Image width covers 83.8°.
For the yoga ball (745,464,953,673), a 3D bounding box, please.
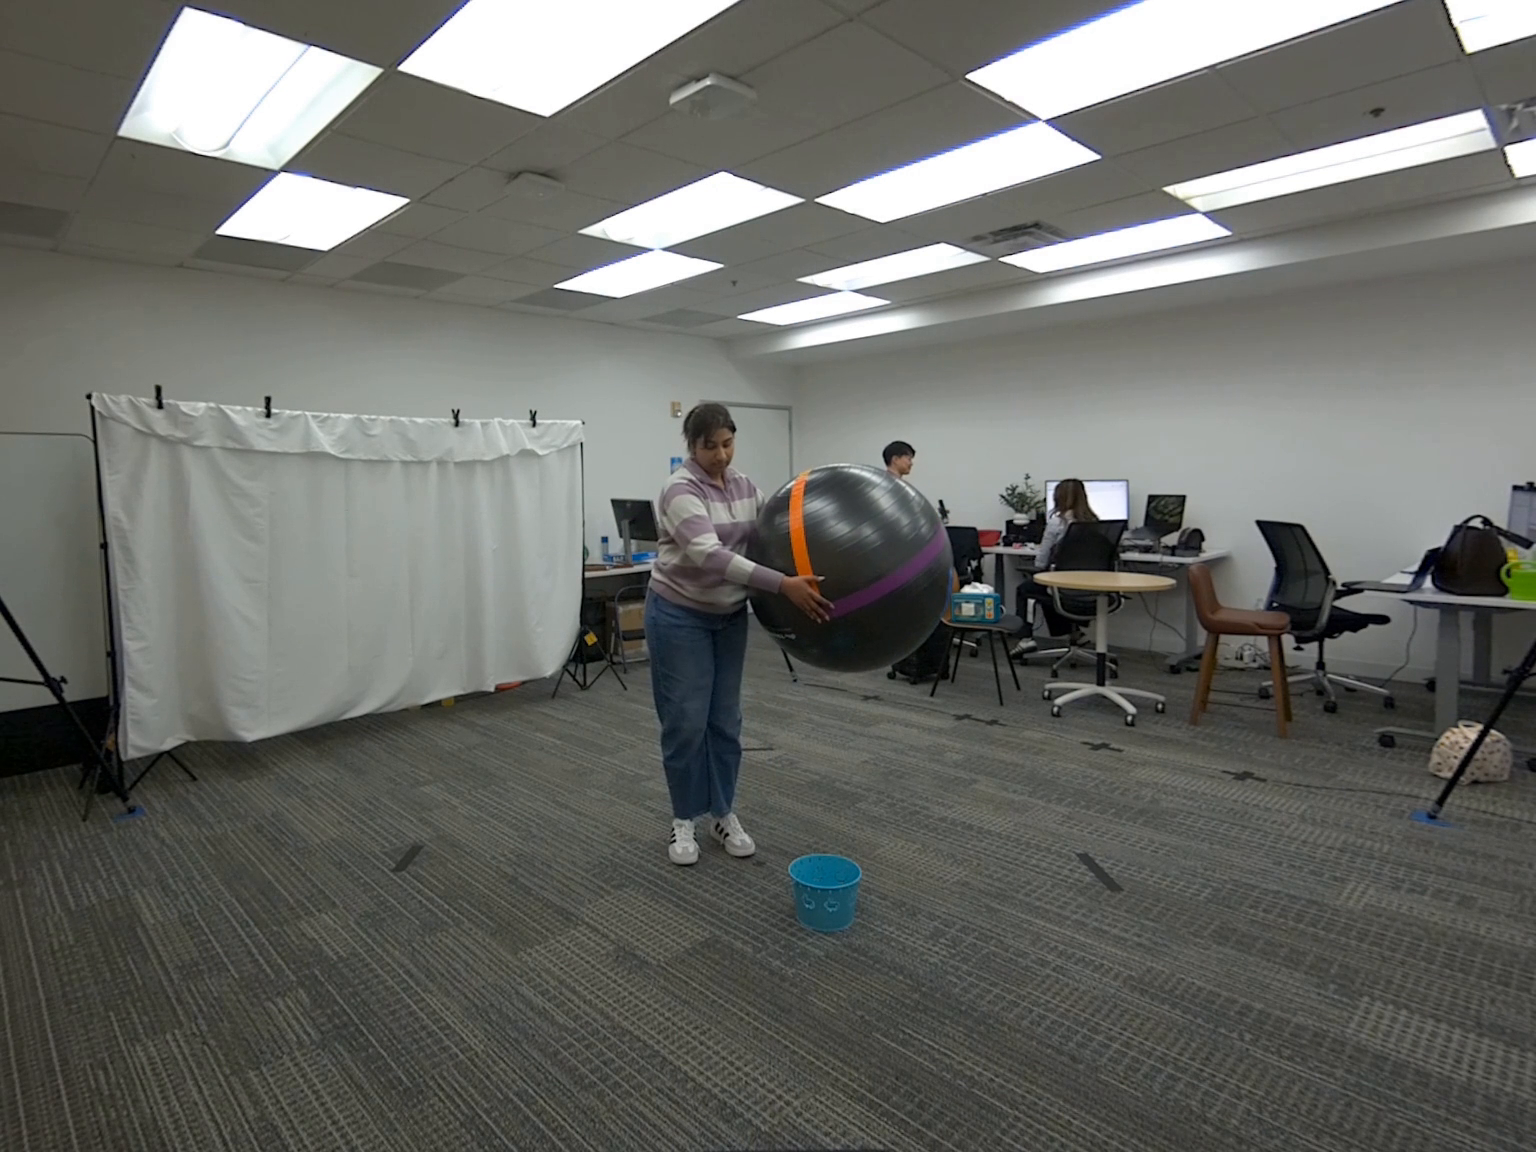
[{"bbox_3d":[0.287,-0.026,3.121,0.757,0.755,0.762,-1,5,-2],"label":"yoga ball"}]
